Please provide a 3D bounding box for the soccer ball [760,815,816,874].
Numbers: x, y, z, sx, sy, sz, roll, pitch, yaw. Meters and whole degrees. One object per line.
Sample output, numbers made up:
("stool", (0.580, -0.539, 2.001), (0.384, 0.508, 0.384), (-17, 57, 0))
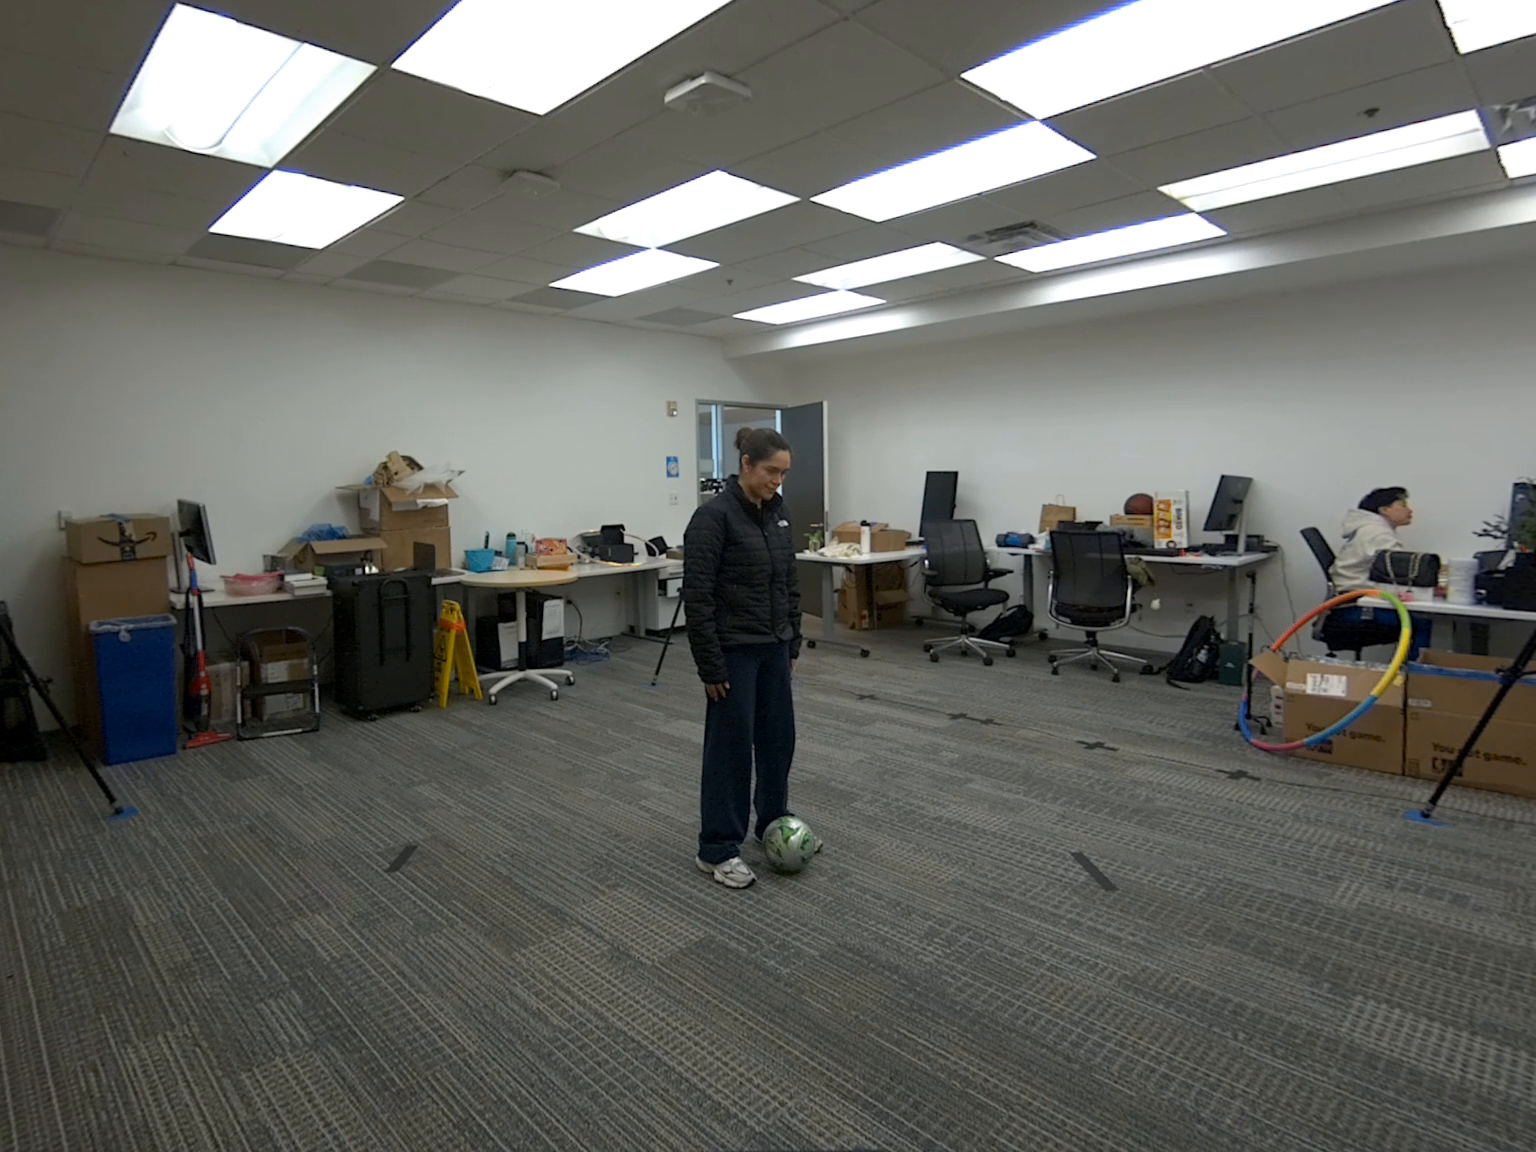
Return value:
("soccer ball", (0.067, 0.952, 3.045), (0.187, 0.187, 0.188), (-1, 5, -2))
